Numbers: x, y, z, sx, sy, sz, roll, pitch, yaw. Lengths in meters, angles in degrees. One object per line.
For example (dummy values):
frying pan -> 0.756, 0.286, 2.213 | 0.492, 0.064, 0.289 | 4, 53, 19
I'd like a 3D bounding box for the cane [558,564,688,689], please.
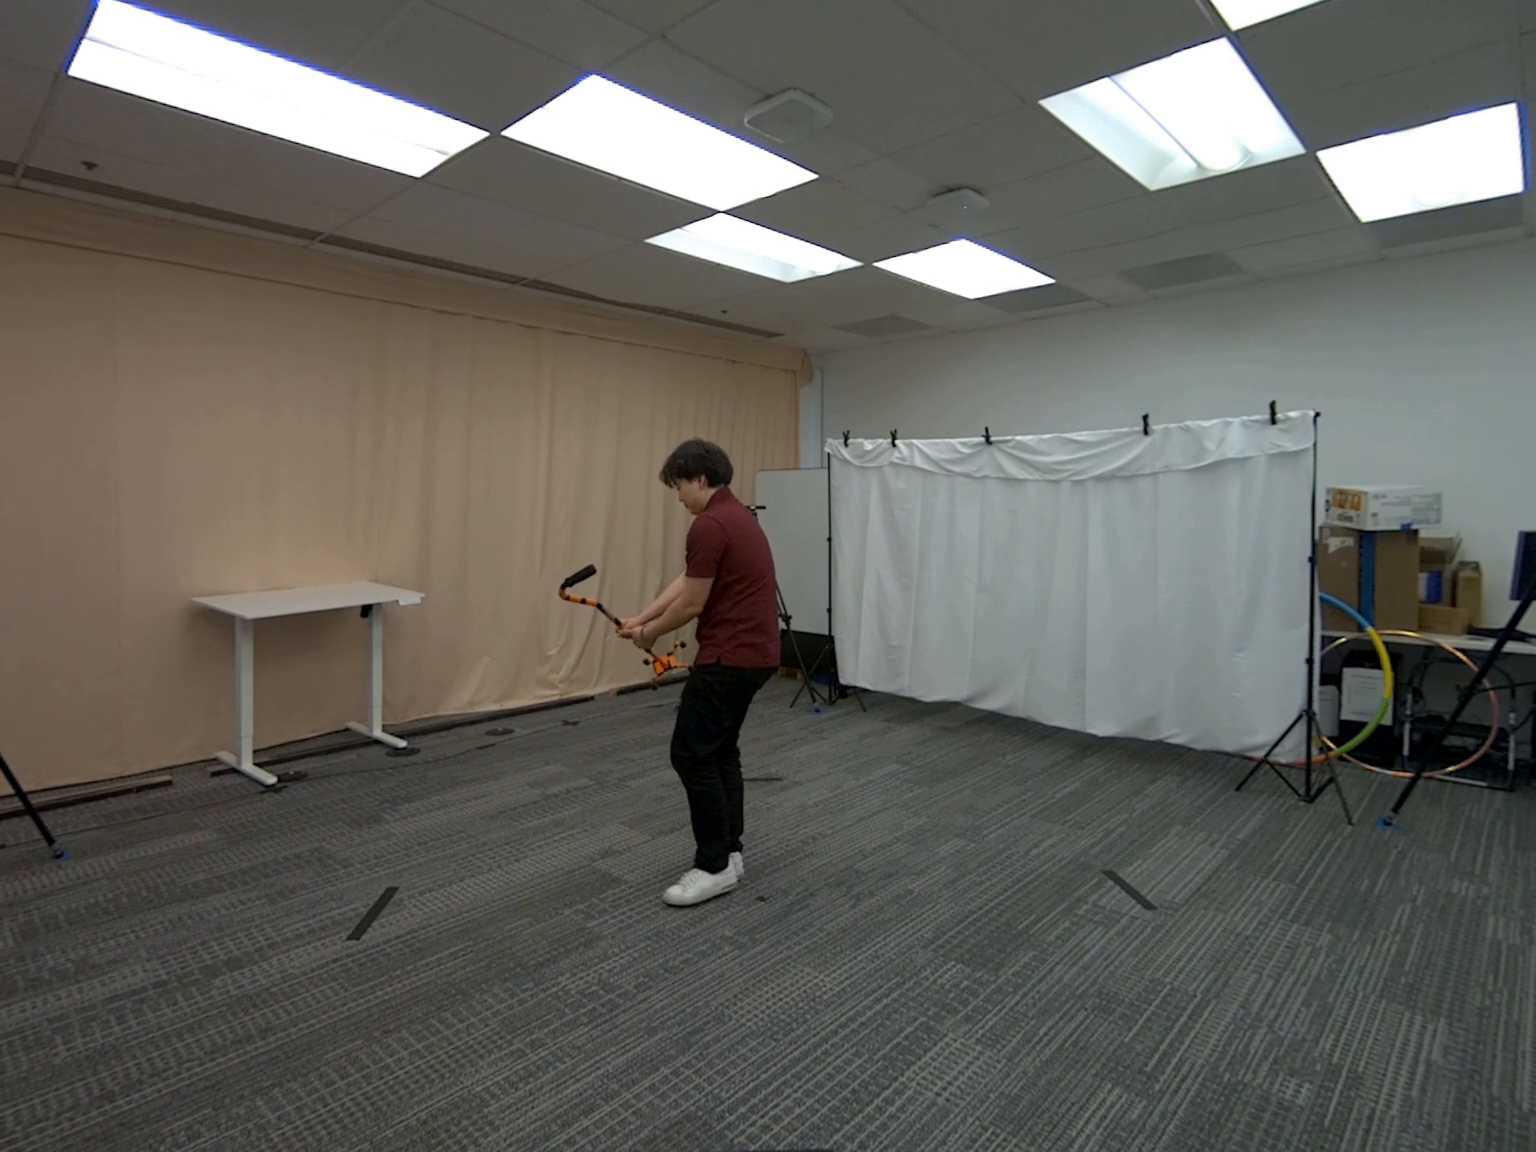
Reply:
cane -> -0.552, 0.201, 3.226 | 0.207, 0.156, 0.880 | -28, -33, 4
